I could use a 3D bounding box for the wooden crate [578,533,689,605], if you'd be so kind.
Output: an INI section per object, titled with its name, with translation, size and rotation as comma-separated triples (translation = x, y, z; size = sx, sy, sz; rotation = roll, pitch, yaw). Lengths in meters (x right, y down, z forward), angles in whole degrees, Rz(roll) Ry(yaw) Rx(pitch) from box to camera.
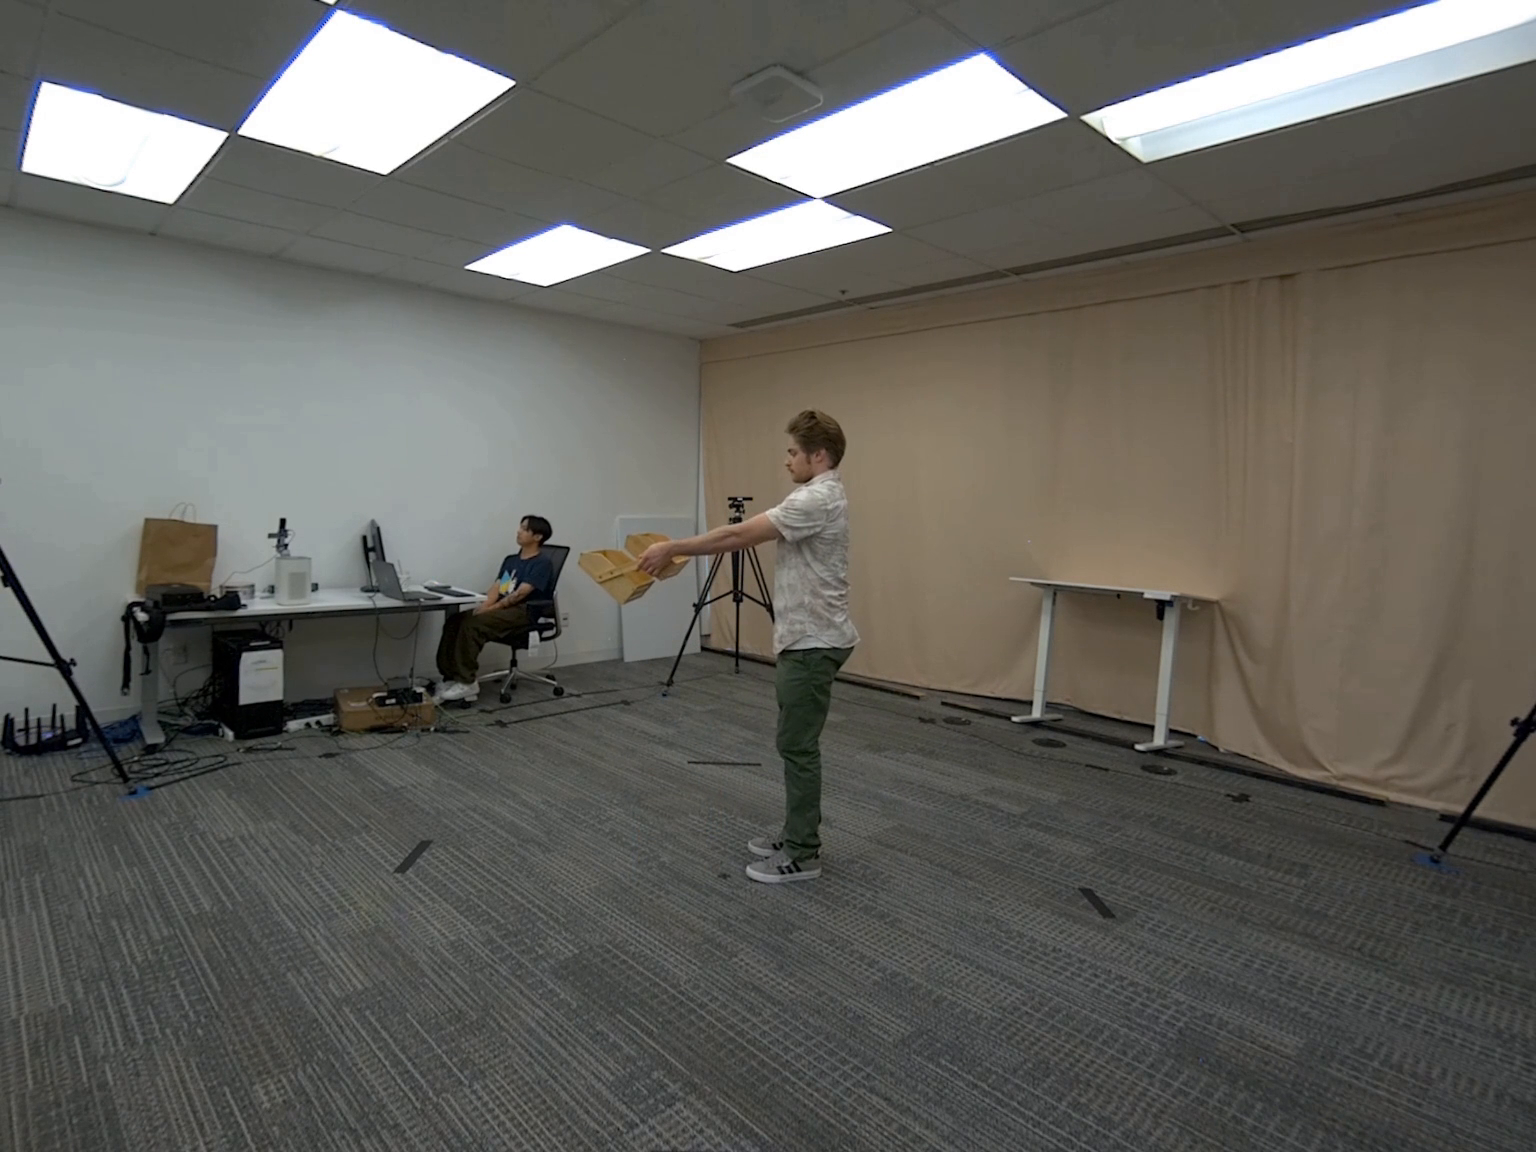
[wooden crate]
translation = -0.520, -0.062, 3.301
size = 0.303, 0.273, 0.323
rotation = 42, 8, 3
